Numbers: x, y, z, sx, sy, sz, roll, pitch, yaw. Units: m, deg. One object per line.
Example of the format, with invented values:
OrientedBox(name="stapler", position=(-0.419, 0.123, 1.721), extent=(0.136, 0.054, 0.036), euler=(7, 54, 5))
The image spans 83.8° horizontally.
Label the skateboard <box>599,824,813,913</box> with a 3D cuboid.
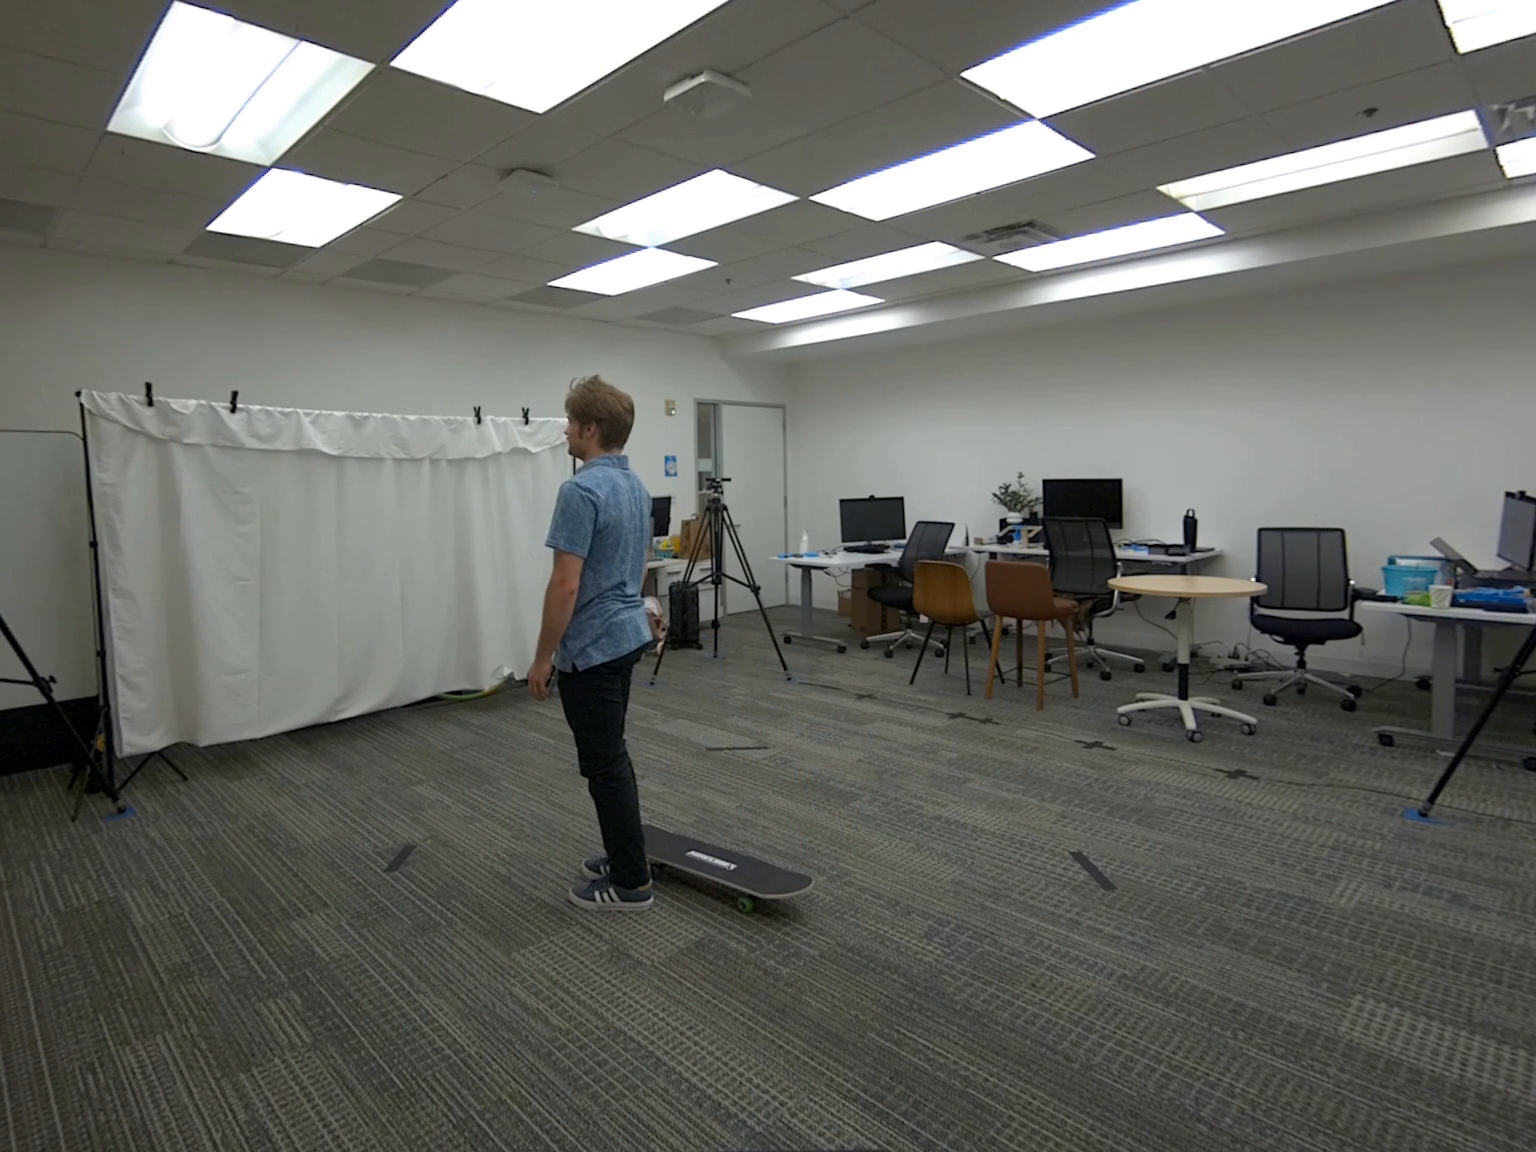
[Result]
OrientedBox(name="skateboard", position=(-0.196, 1.005, 2.935), extent=(0.808, 0.110, 0.189), euler=(4, 8, 36))
